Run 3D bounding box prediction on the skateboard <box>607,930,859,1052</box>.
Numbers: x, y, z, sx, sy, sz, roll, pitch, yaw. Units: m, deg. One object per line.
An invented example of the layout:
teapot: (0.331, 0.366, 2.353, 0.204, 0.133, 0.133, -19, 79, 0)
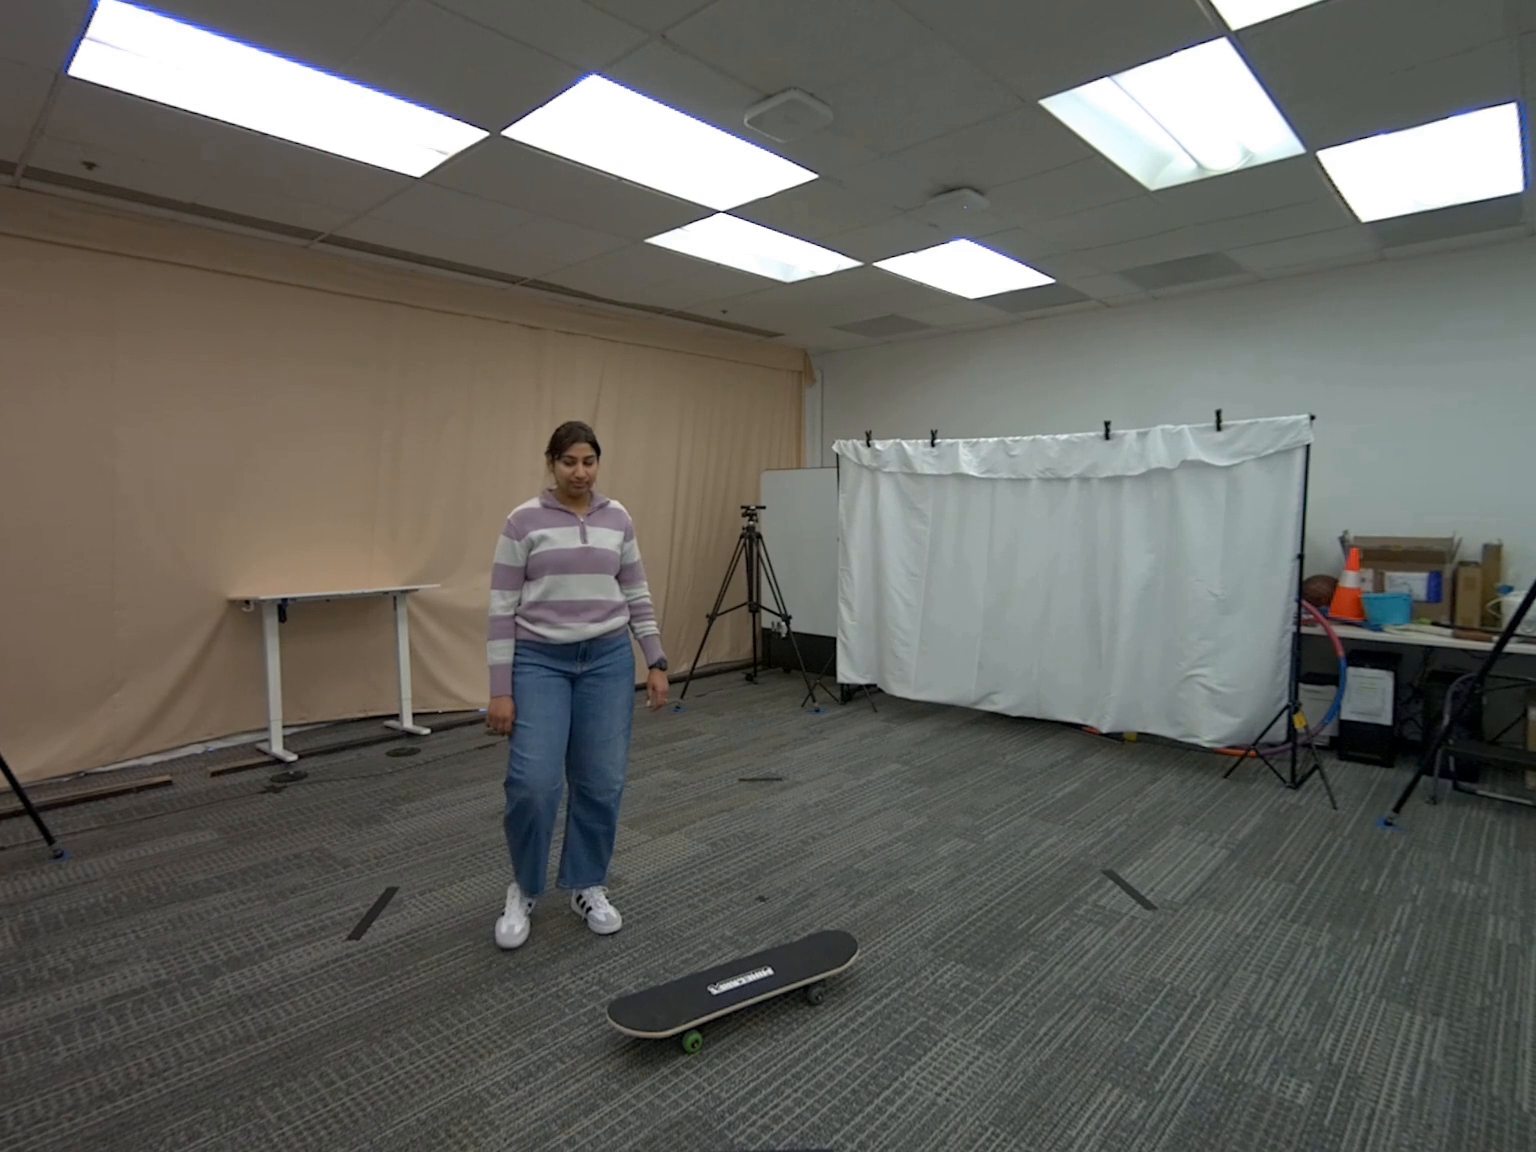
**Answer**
skateboard: (-0.072, 1.145, 2.313, 0.764, 0.110, 0.199, -3, 5, -31)
